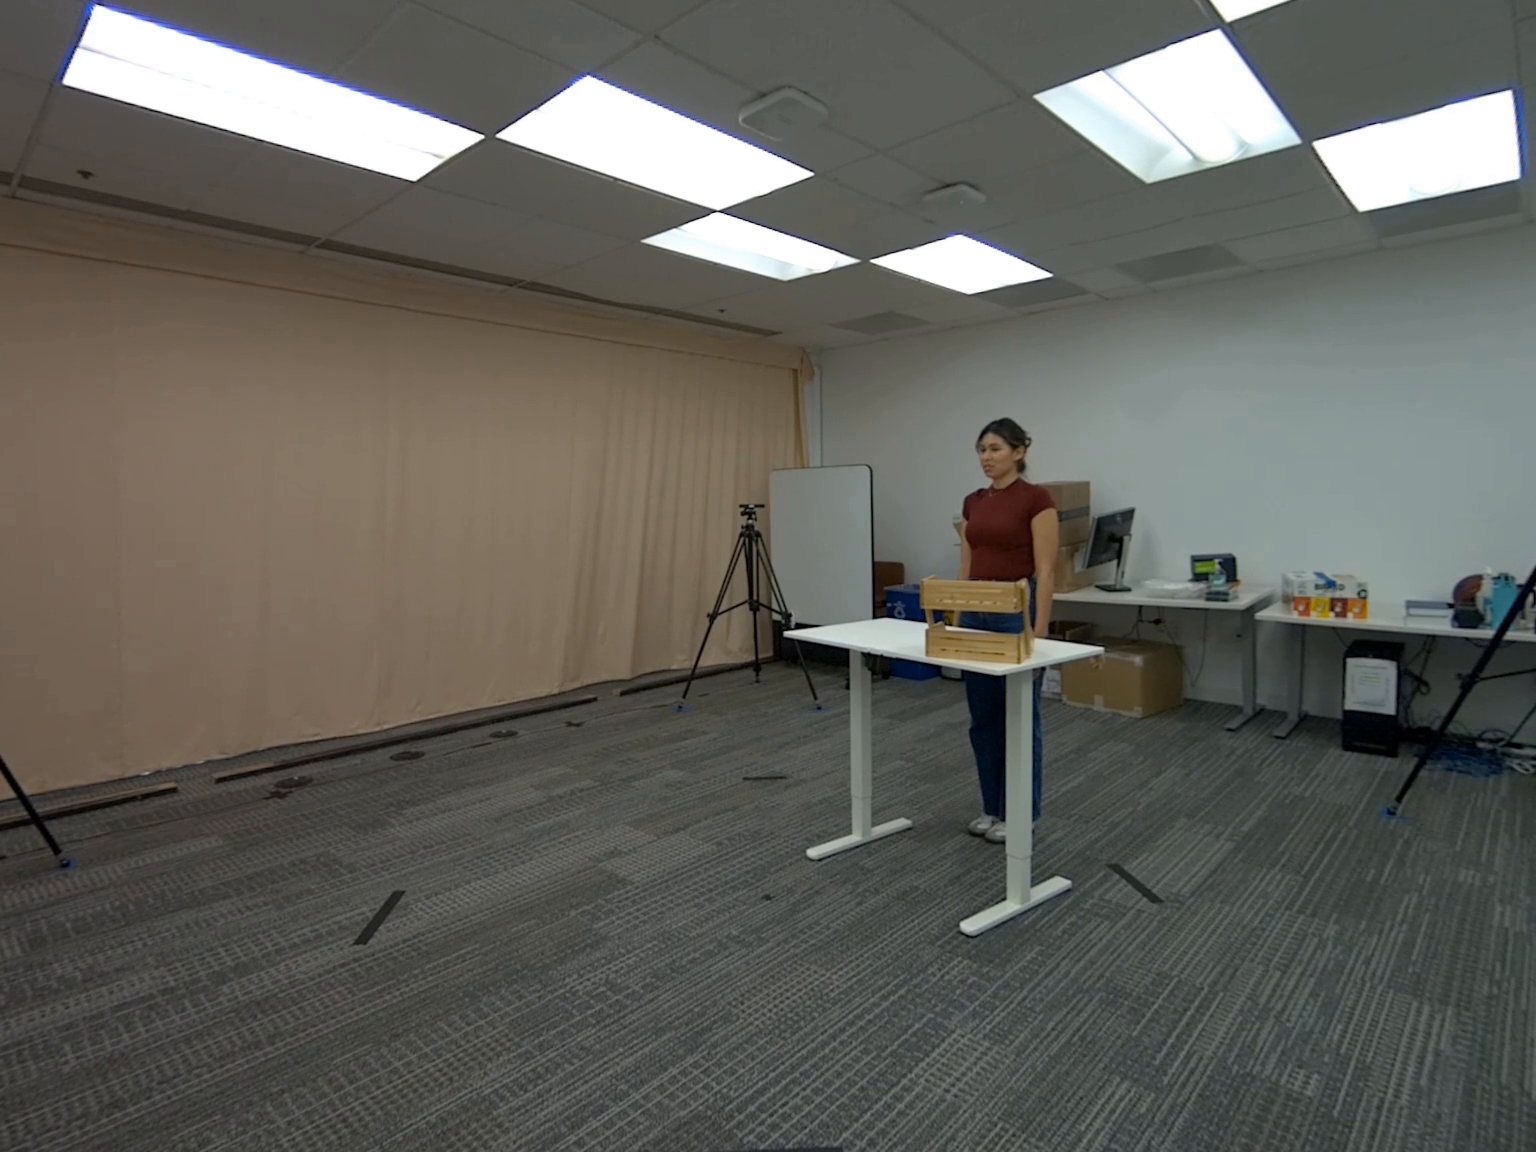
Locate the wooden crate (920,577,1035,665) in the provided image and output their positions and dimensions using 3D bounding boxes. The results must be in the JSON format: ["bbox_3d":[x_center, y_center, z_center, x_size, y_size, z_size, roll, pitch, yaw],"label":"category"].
[{"bbox_3d":[0.711,0.134,2.775,0.333,0.272,0.294,2,5,28],"label":"wooden crate"}]
